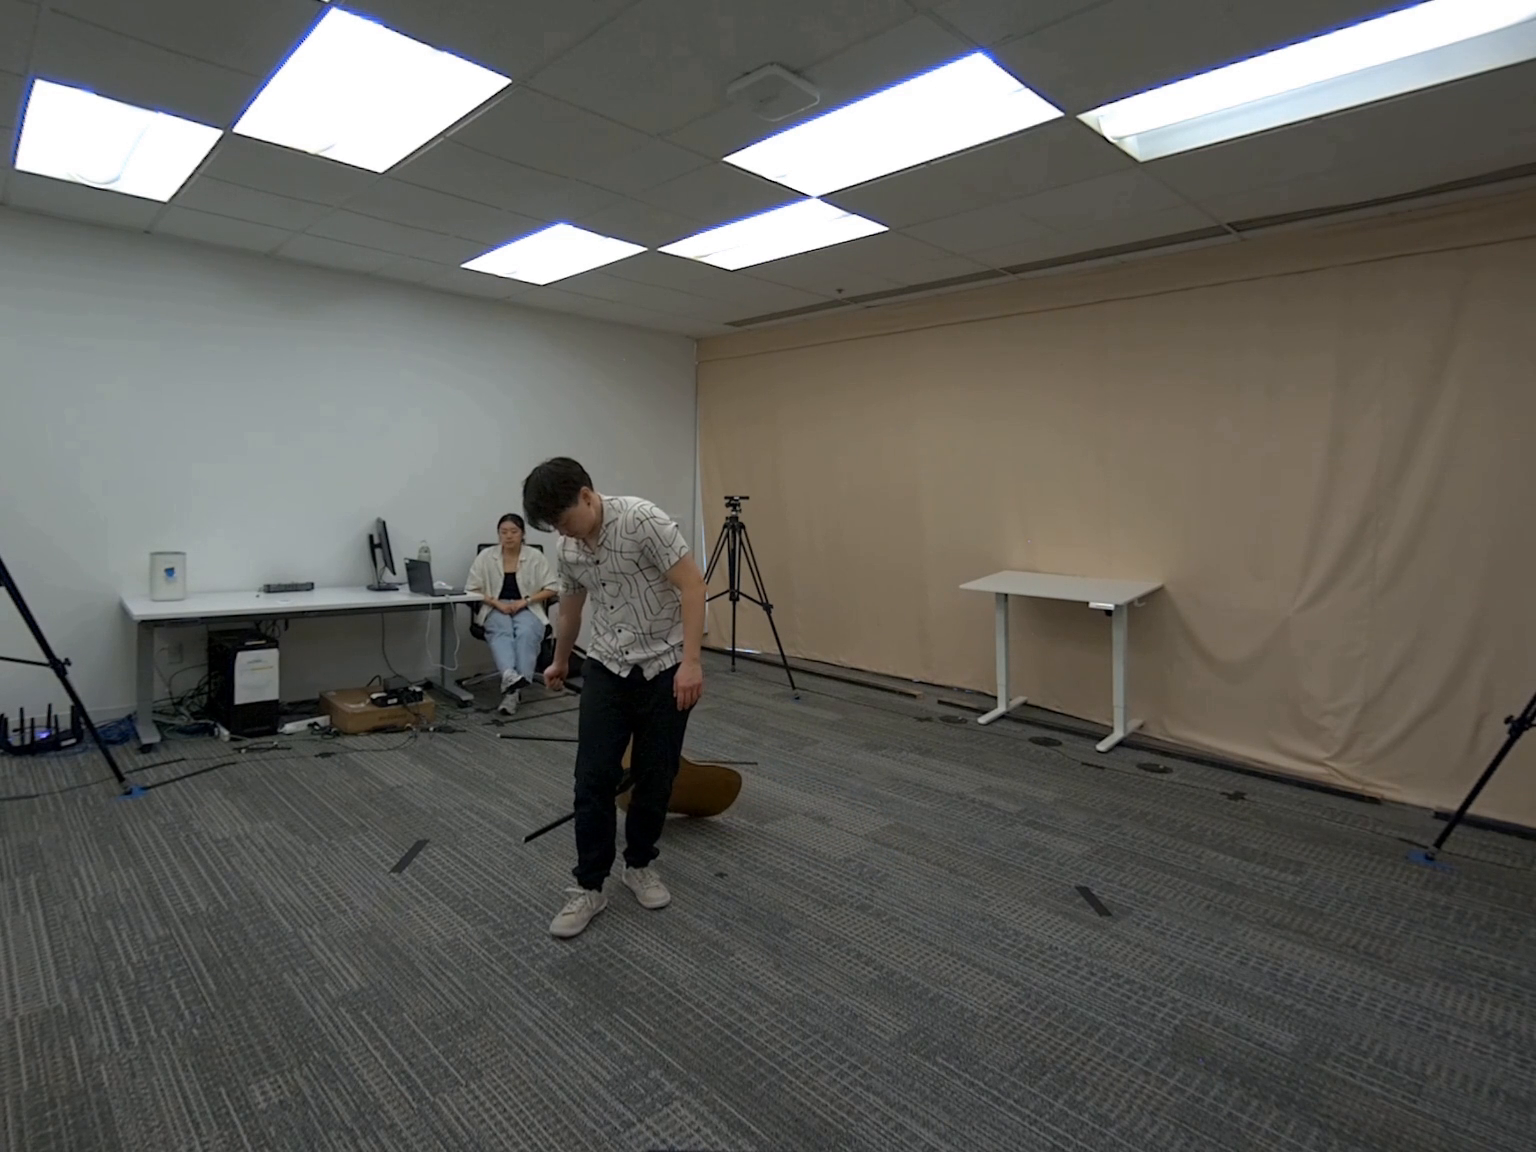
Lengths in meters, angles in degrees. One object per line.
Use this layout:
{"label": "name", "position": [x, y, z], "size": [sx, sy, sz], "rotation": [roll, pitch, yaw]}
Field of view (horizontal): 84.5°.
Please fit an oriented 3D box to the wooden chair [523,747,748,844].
{"label": "wooden chair", "position": [-0.581, 0.726, 3.446], "size": [0.853, 0.537, 0.478], "rotation": [11, -46, -40]}
